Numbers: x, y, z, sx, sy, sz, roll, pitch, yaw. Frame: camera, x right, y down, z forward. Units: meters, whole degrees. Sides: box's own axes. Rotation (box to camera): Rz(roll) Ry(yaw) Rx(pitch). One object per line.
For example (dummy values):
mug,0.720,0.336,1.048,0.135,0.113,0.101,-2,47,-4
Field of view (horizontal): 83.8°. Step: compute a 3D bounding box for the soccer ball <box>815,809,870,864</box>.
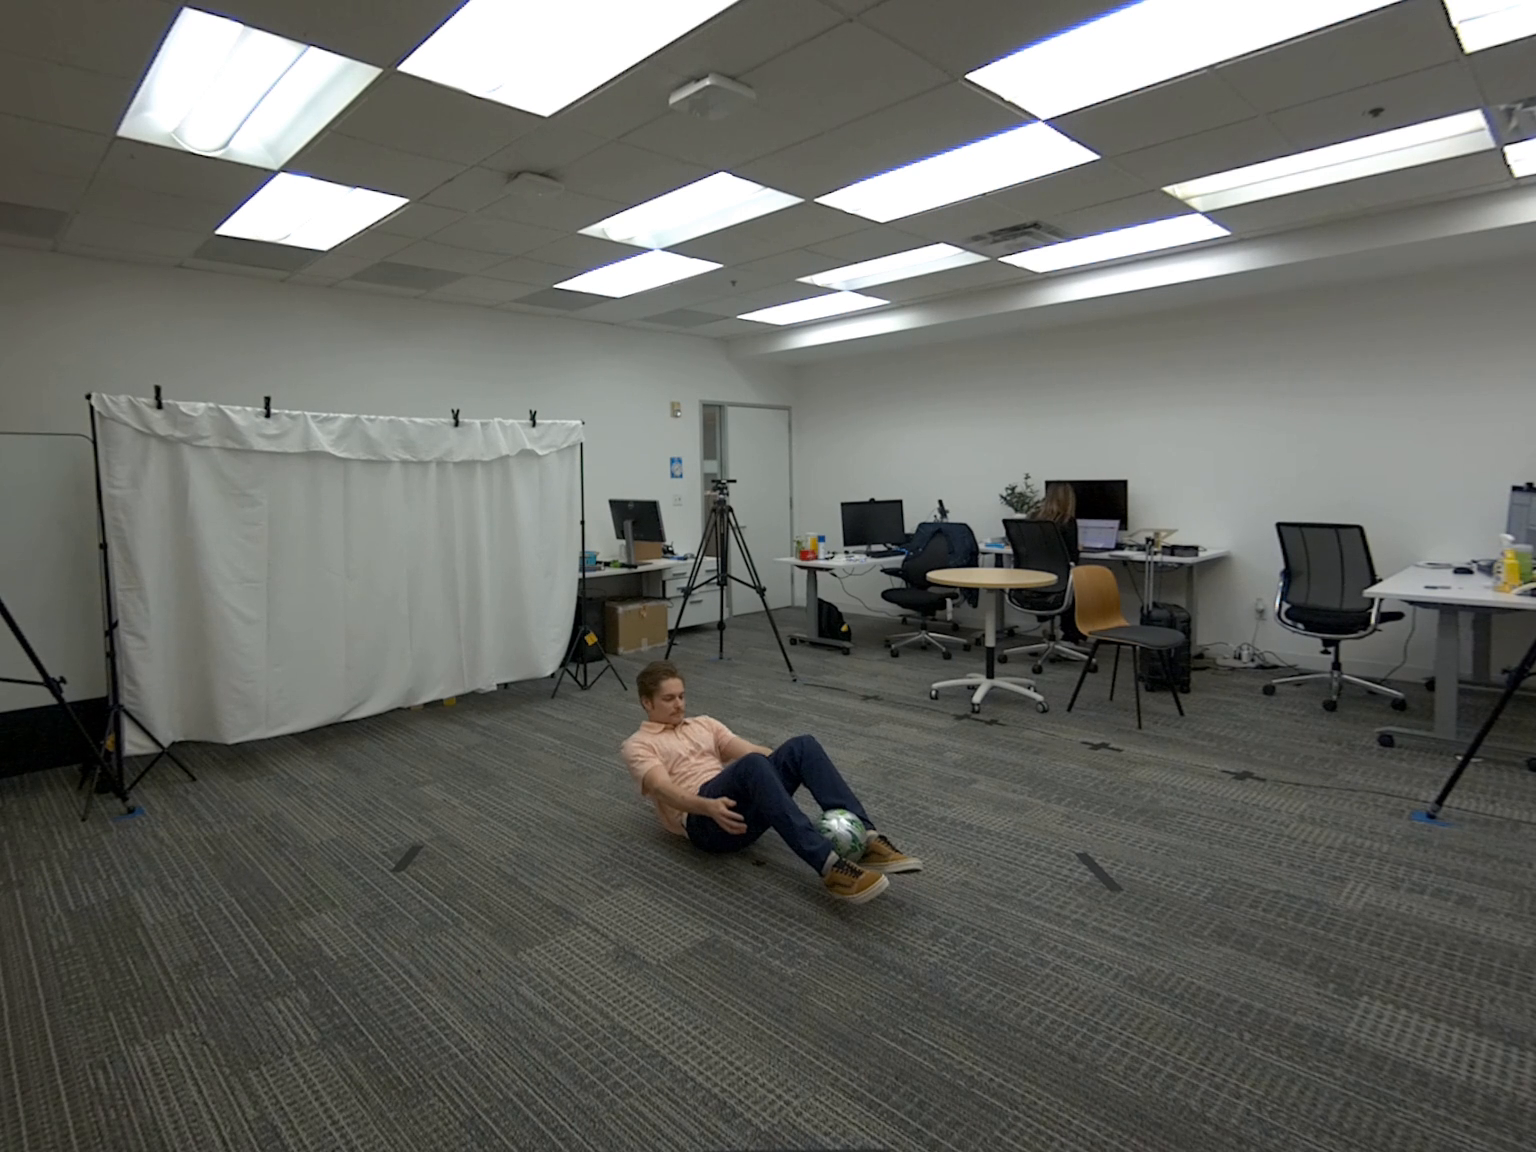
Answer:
soccer ball,0.227,0.881,2.850,0.187,0.187,0.188,-1,5,-2
